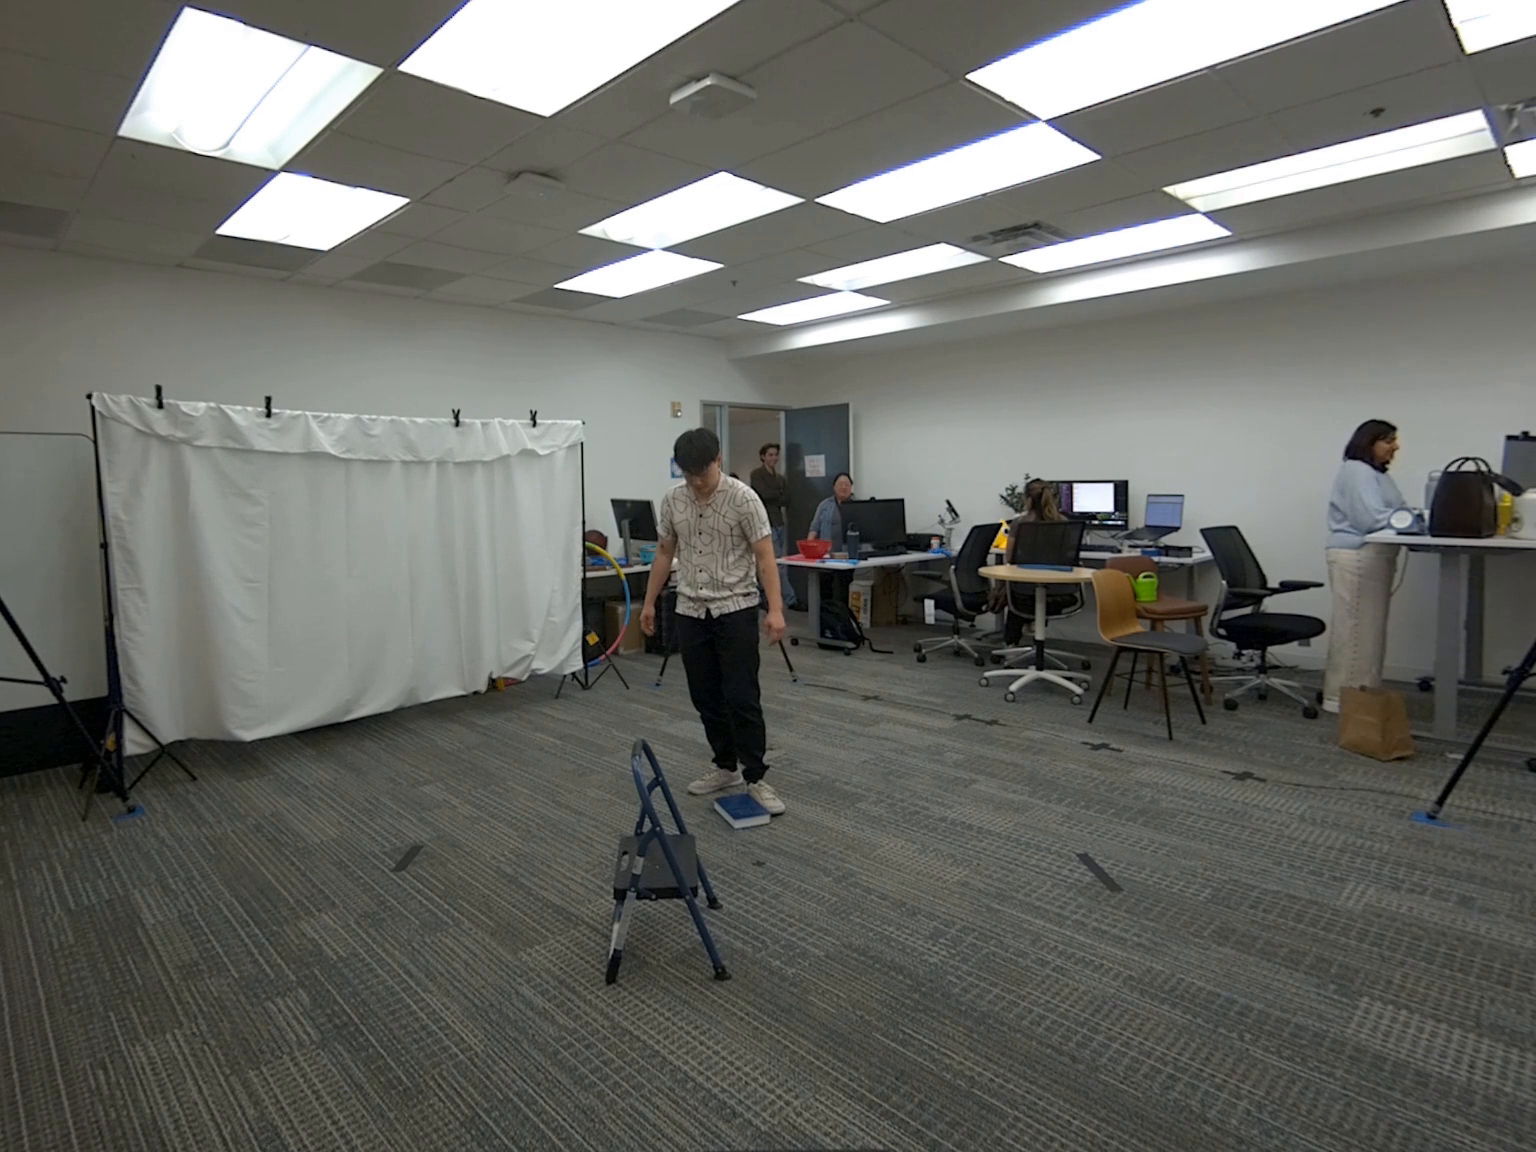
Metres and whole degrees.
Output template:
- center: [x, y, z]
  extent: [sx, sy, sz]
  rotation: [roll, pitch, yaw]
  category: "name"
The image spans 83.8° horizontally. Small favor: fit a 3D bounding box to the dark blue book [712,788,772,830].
- center: [-0.110, 0.979, 3.557]
  extent: [0.160, 0.045, 0.251]
  rotation: [-4, 8, -24]
  category: "dark blue book"
